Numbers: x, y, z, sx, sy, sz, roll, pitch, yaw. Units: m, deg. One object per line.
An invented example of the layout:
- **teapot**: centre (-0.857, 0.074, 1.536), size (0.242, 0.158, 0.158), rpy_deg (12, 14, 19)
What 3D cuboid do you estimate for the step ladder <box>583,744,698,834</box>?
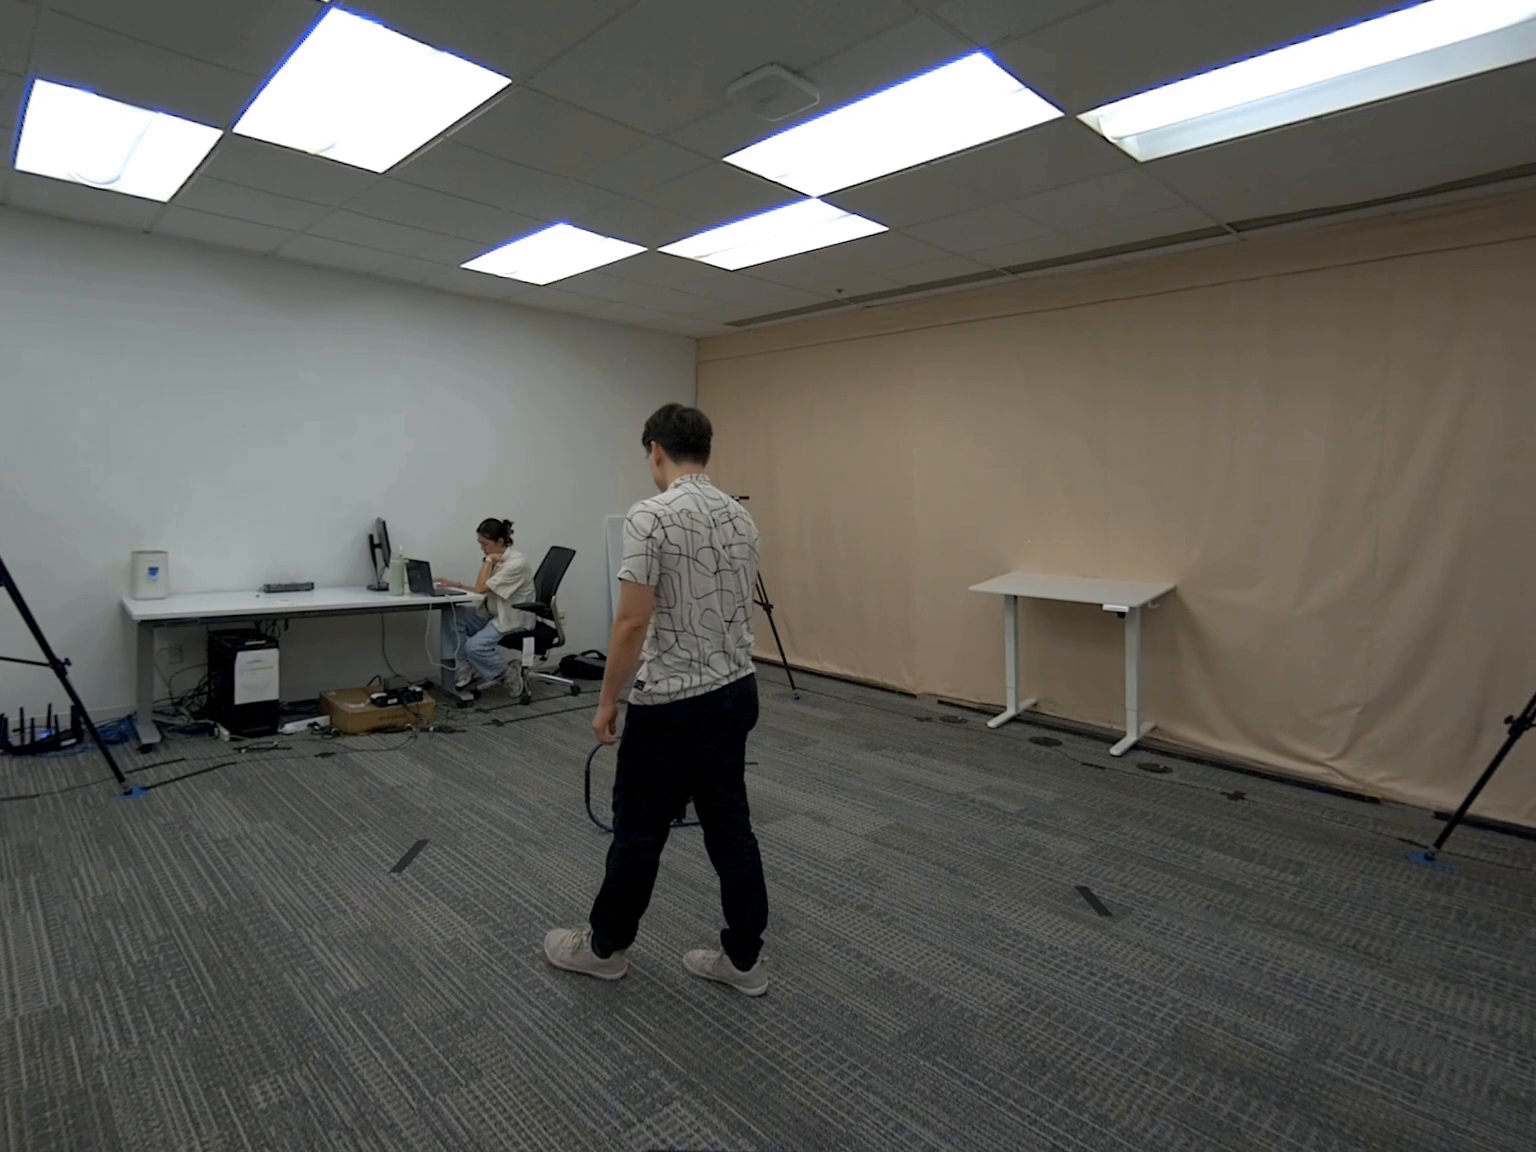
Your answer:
- **step ladder**: centre (-0.474, 0.853, 3.563), size (0.592, 0.430, 0.358), rpy_deg (-2, 3, -38)
